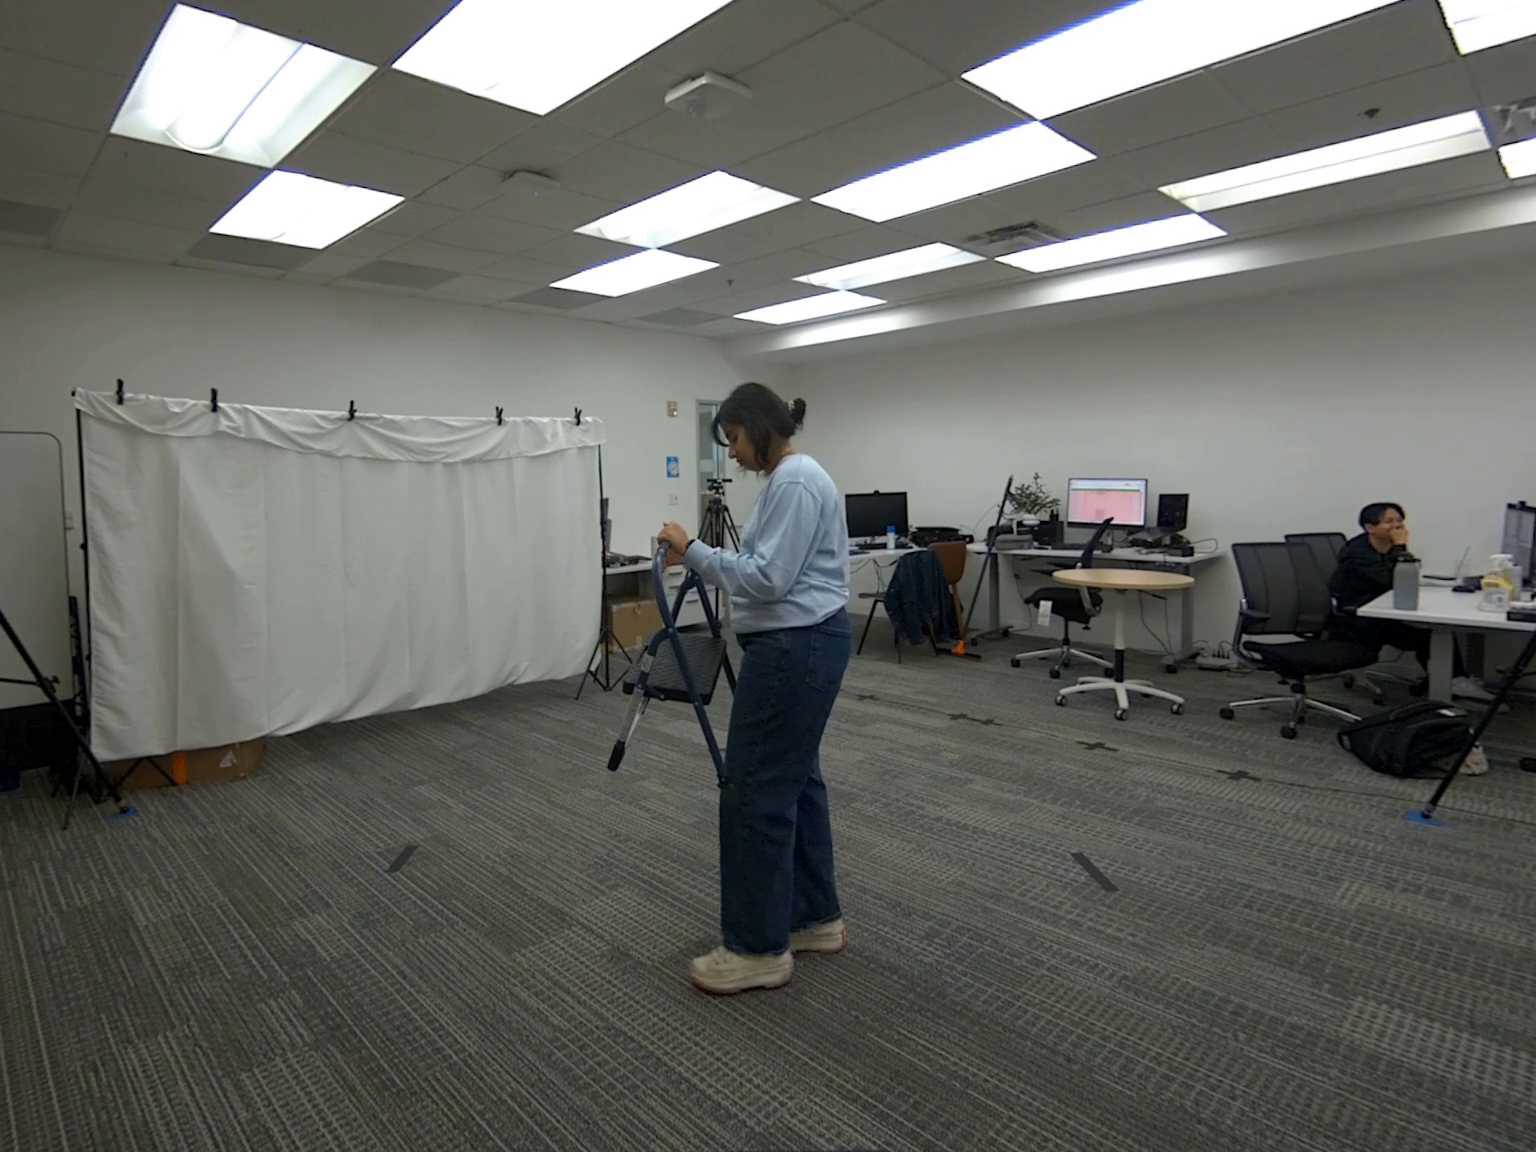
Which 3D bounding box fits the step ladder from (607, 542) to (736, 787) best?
[{"bbox_3d":[-0.224,0.197,2.389,0.351,0.597,0.435,6,19,3],"label":"step ladder"}]
